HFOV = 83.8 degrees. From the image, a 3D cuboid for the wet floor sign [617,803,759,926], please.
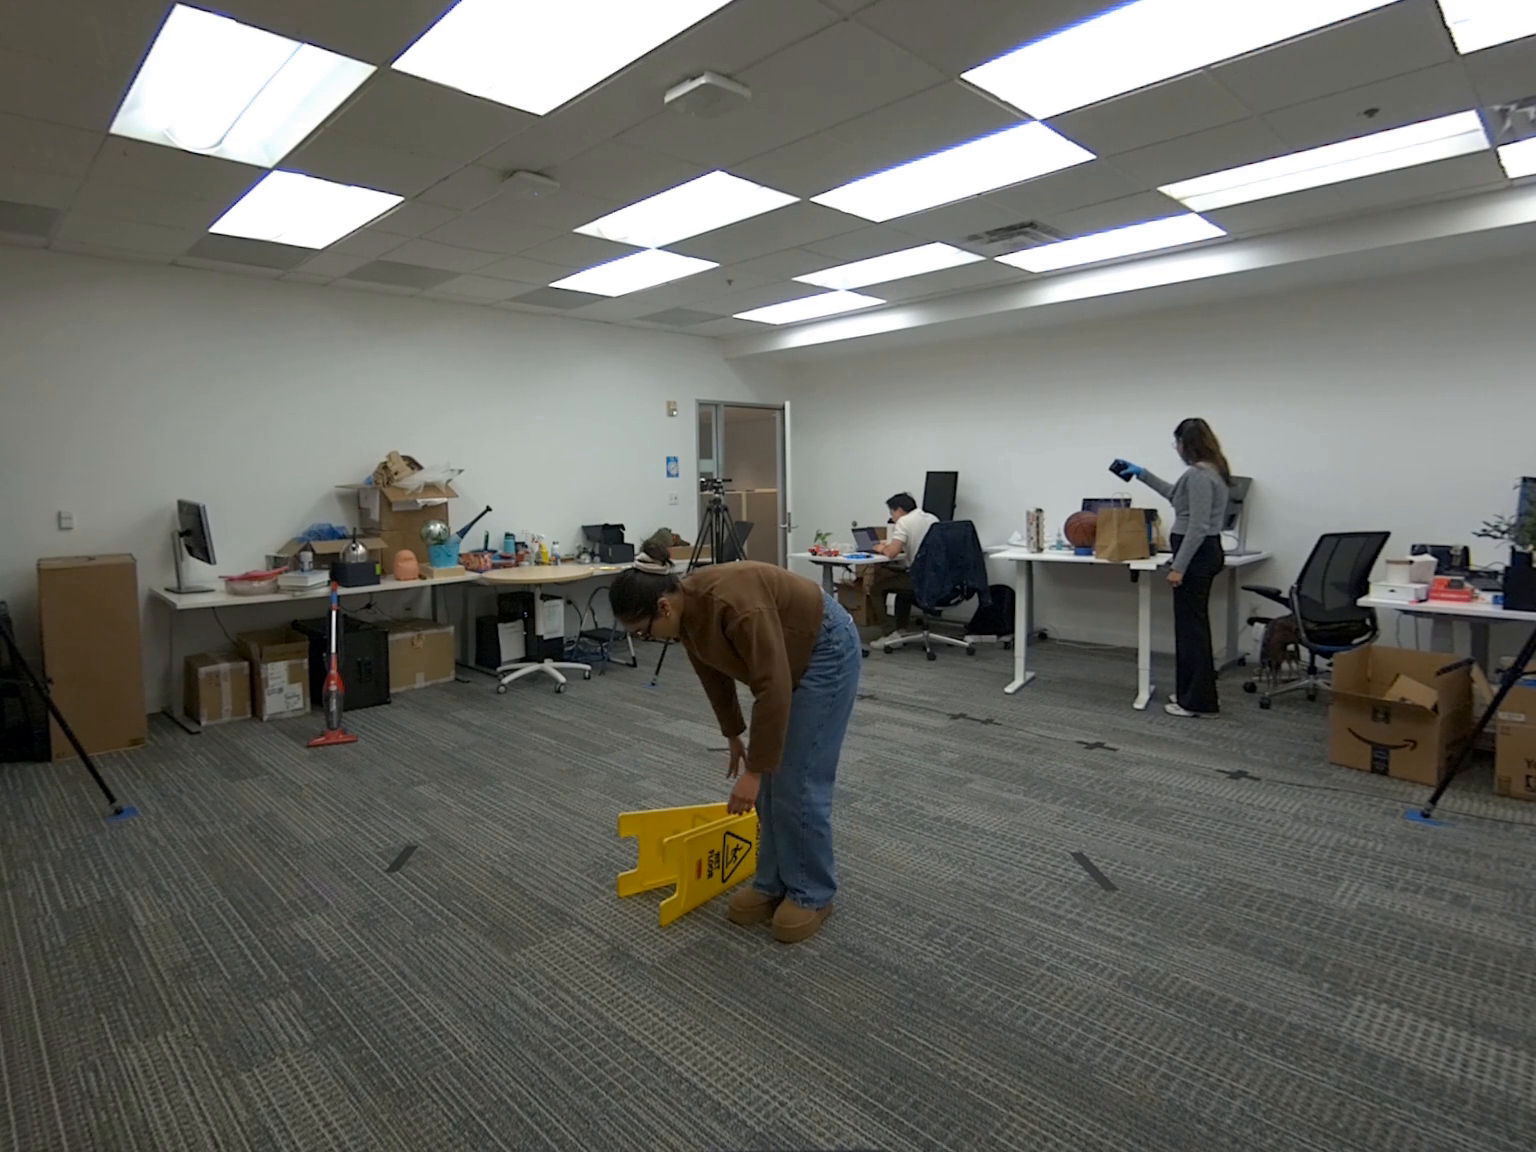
[{"bbox_3d":[-0.176,0.936,2.967,0.628,0.281,0.298,-2,5,-40],"label":"wet floor sign"}]
